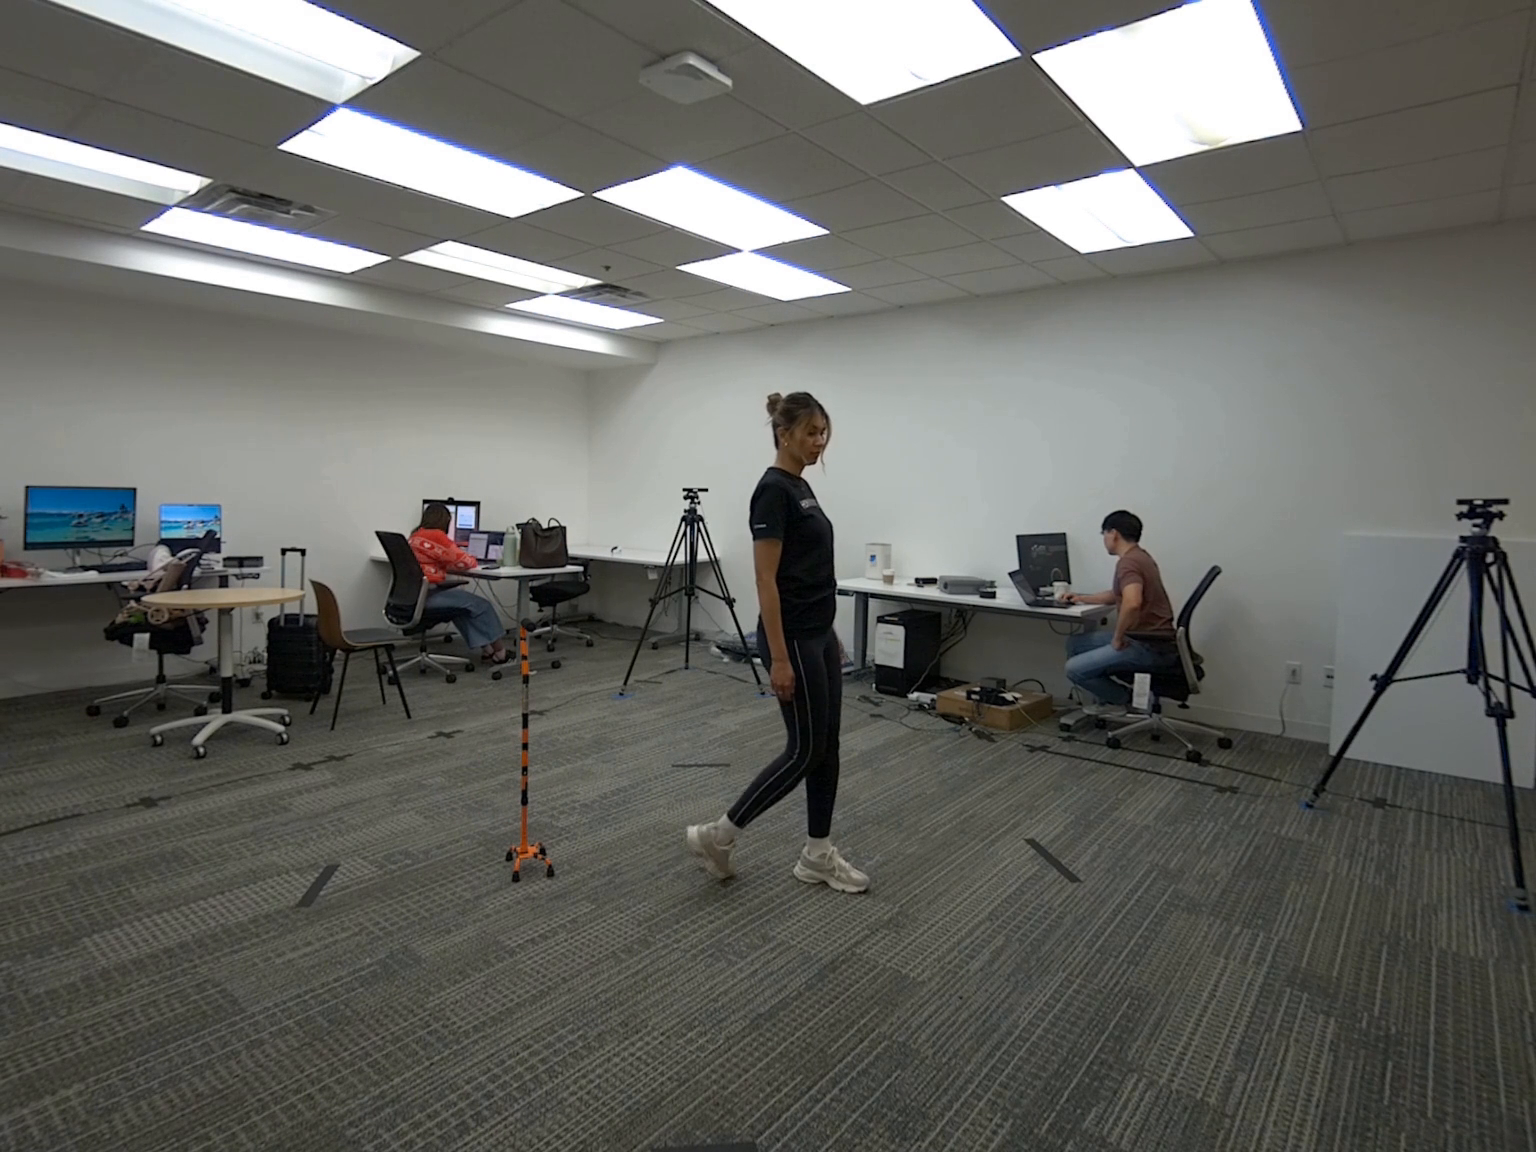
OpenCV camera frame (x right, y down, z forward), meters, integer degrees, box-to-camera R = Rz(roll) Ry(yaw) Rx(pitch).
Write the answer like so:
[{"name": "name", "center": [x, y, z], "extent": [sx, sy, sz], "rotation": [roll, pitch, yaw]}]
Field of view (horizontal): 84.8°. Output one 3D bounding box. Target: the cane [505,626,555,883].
[{"name": "cane", "center": [-0.881, 0.611, 3.070], "extent": [0.148, 0.905, 0.211], "rotation": [-1, 3, -21]}]
